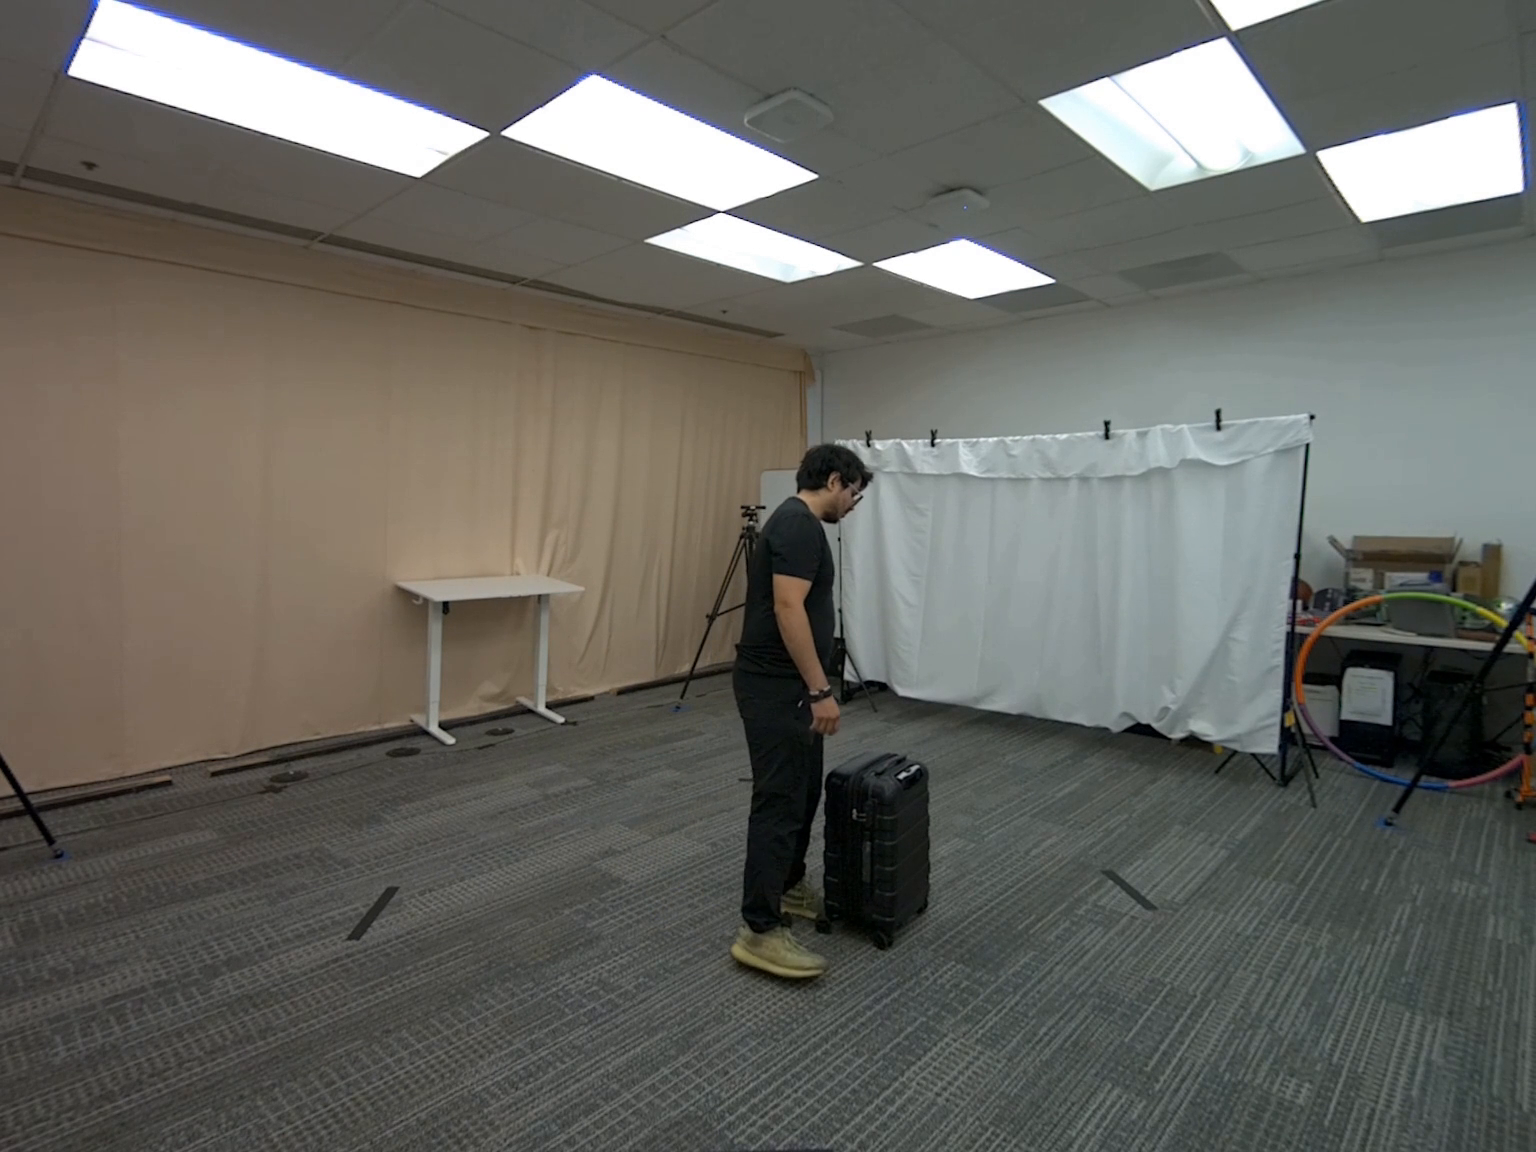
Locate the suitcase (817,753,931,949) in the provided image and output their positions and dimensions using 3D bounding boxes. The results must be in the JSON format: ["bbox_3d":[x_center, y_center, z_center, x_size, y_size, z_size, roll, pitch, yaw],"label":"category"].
[{"bbox_3d":[0.369,0.882,2.797,0.256,0.548,0.365,4,5,31],"label":"suitcase"}]
